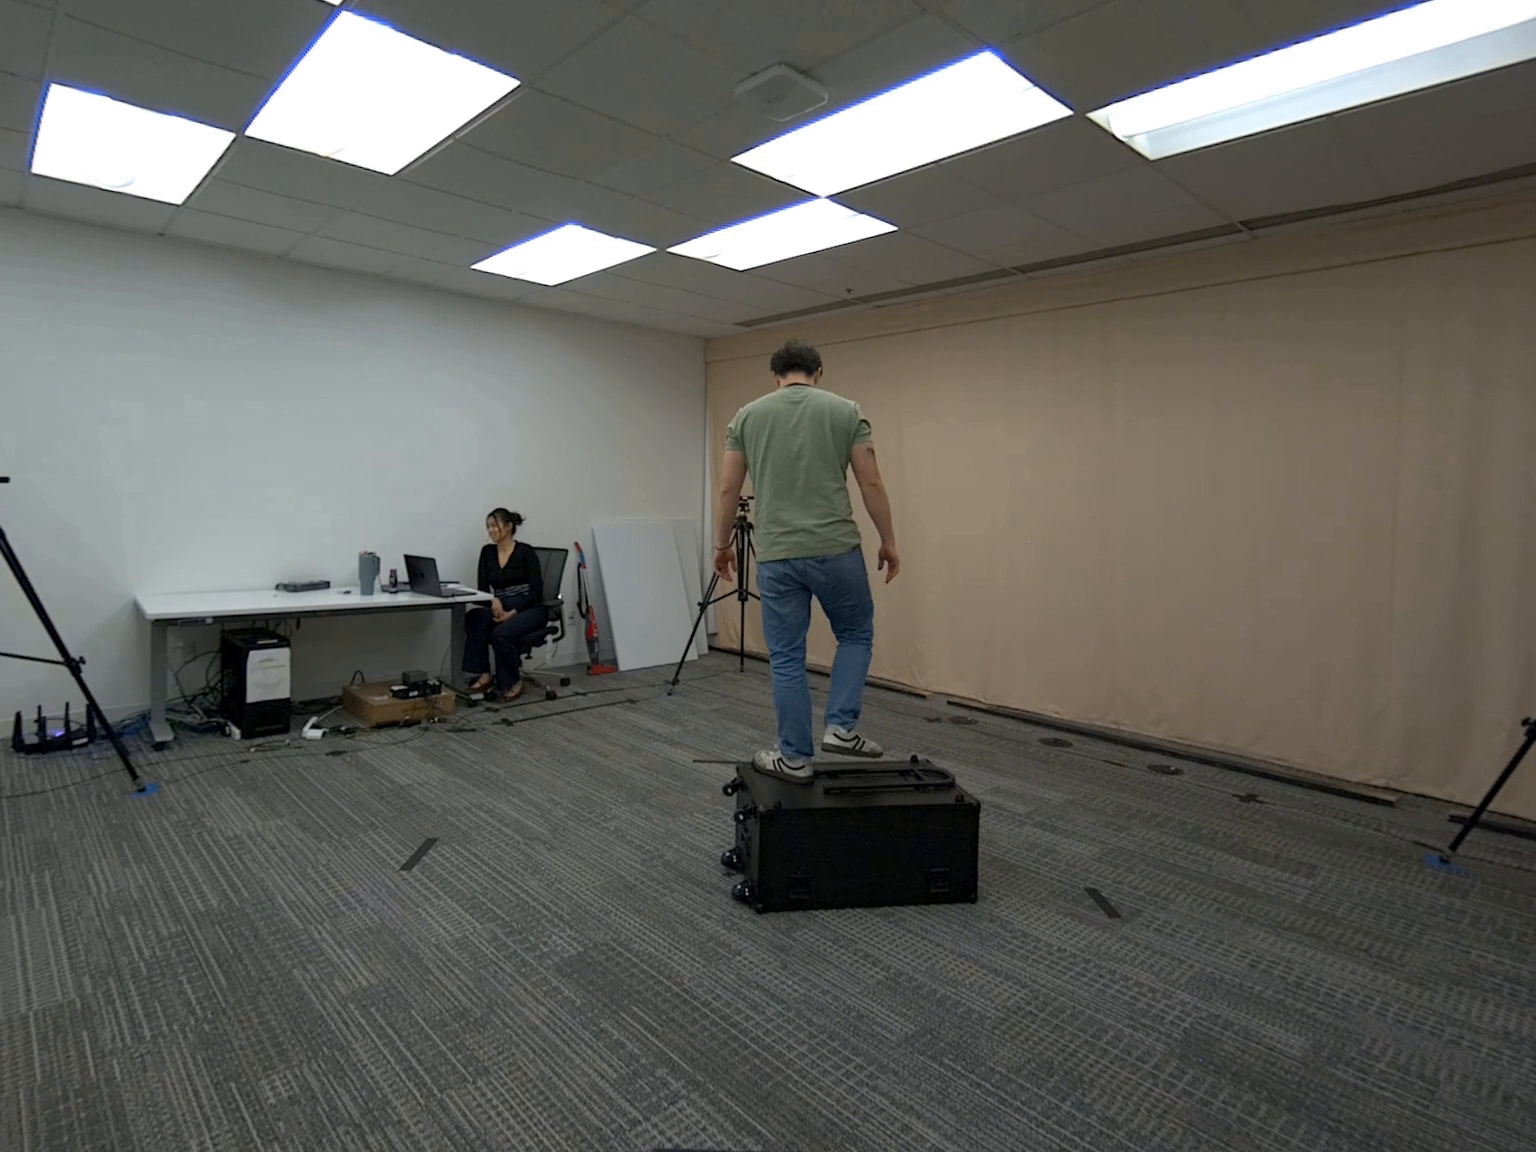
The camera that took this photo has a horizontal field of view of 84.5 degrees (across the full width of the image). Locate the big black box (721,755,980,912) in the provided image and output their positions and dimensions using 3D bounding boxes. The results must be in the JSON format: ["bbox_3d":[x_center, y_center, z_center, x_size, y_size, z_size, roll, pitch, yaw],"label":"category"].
[{"bbox_3d":[0.267,0.924,3.086,0.855,0.395,0.527,-1,5,-10],"label":"big black box"}]
